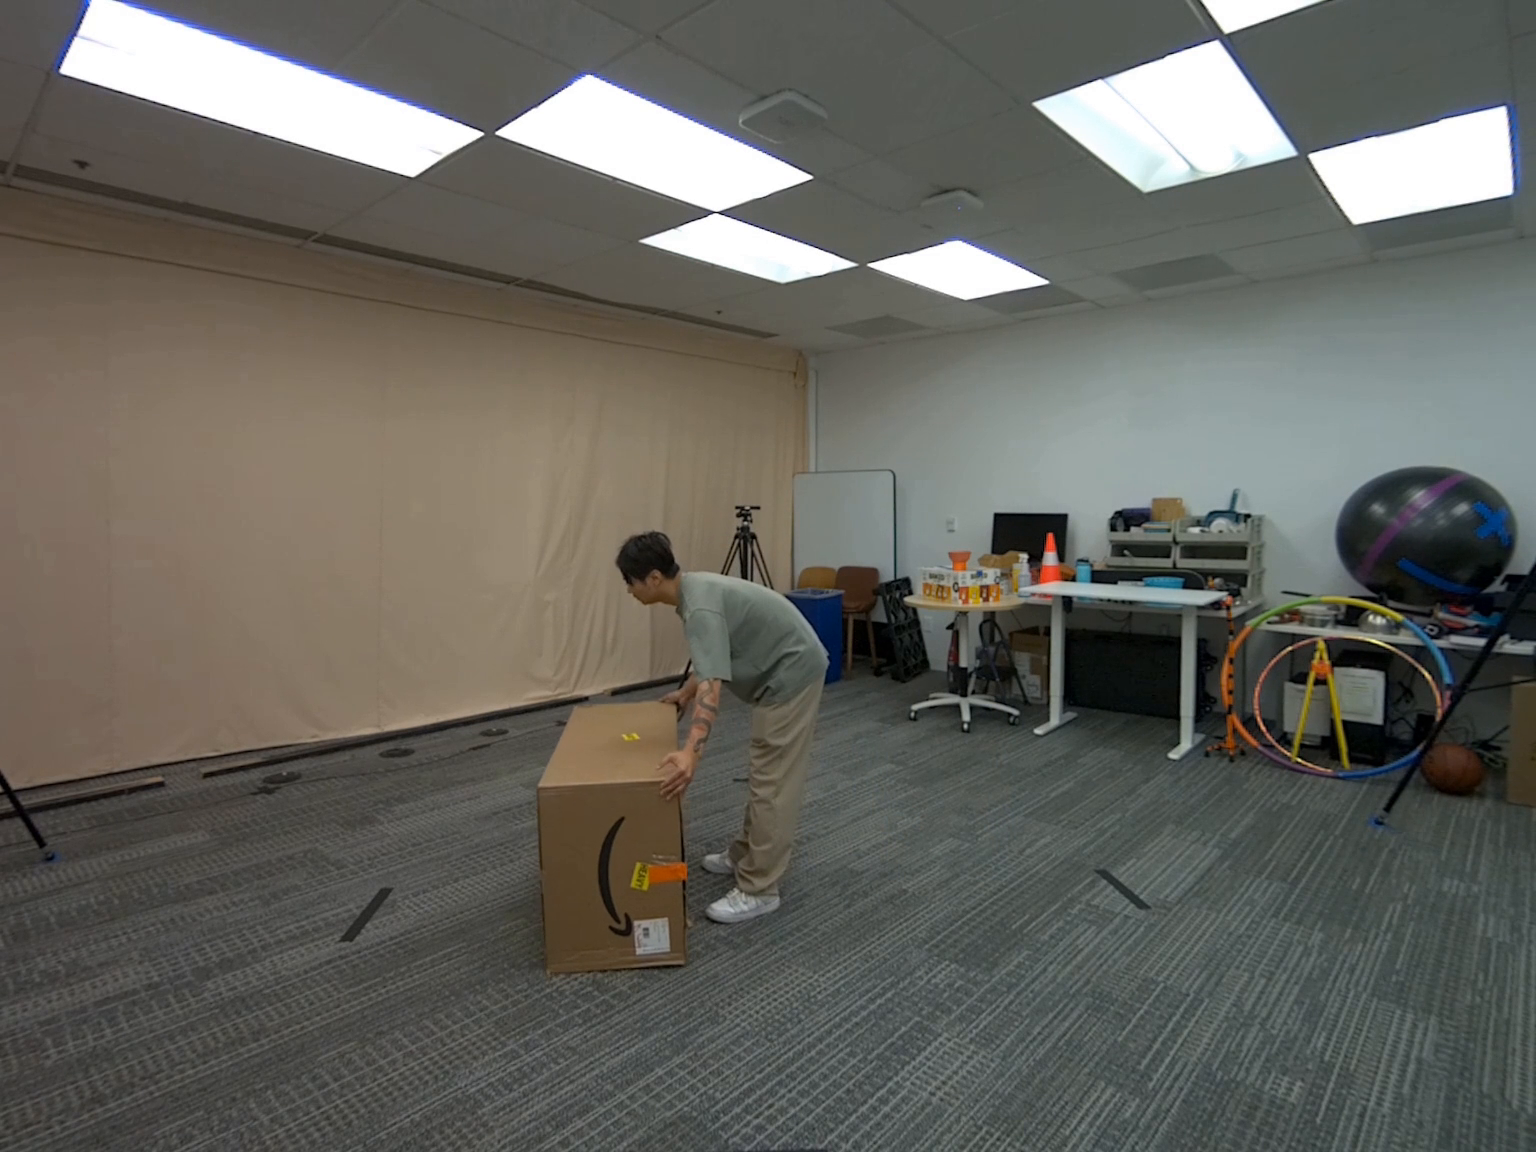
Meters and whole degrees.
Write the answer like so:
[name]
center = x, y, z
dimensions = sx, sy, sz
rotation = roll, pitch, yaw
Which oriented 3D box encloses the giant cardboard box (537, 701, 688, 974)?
[giant cardboard box]
center = -0.529, 0.850, 3.024
dimensions = 0.424, 0.576, 1.033
rotation = -2, 4, -6
